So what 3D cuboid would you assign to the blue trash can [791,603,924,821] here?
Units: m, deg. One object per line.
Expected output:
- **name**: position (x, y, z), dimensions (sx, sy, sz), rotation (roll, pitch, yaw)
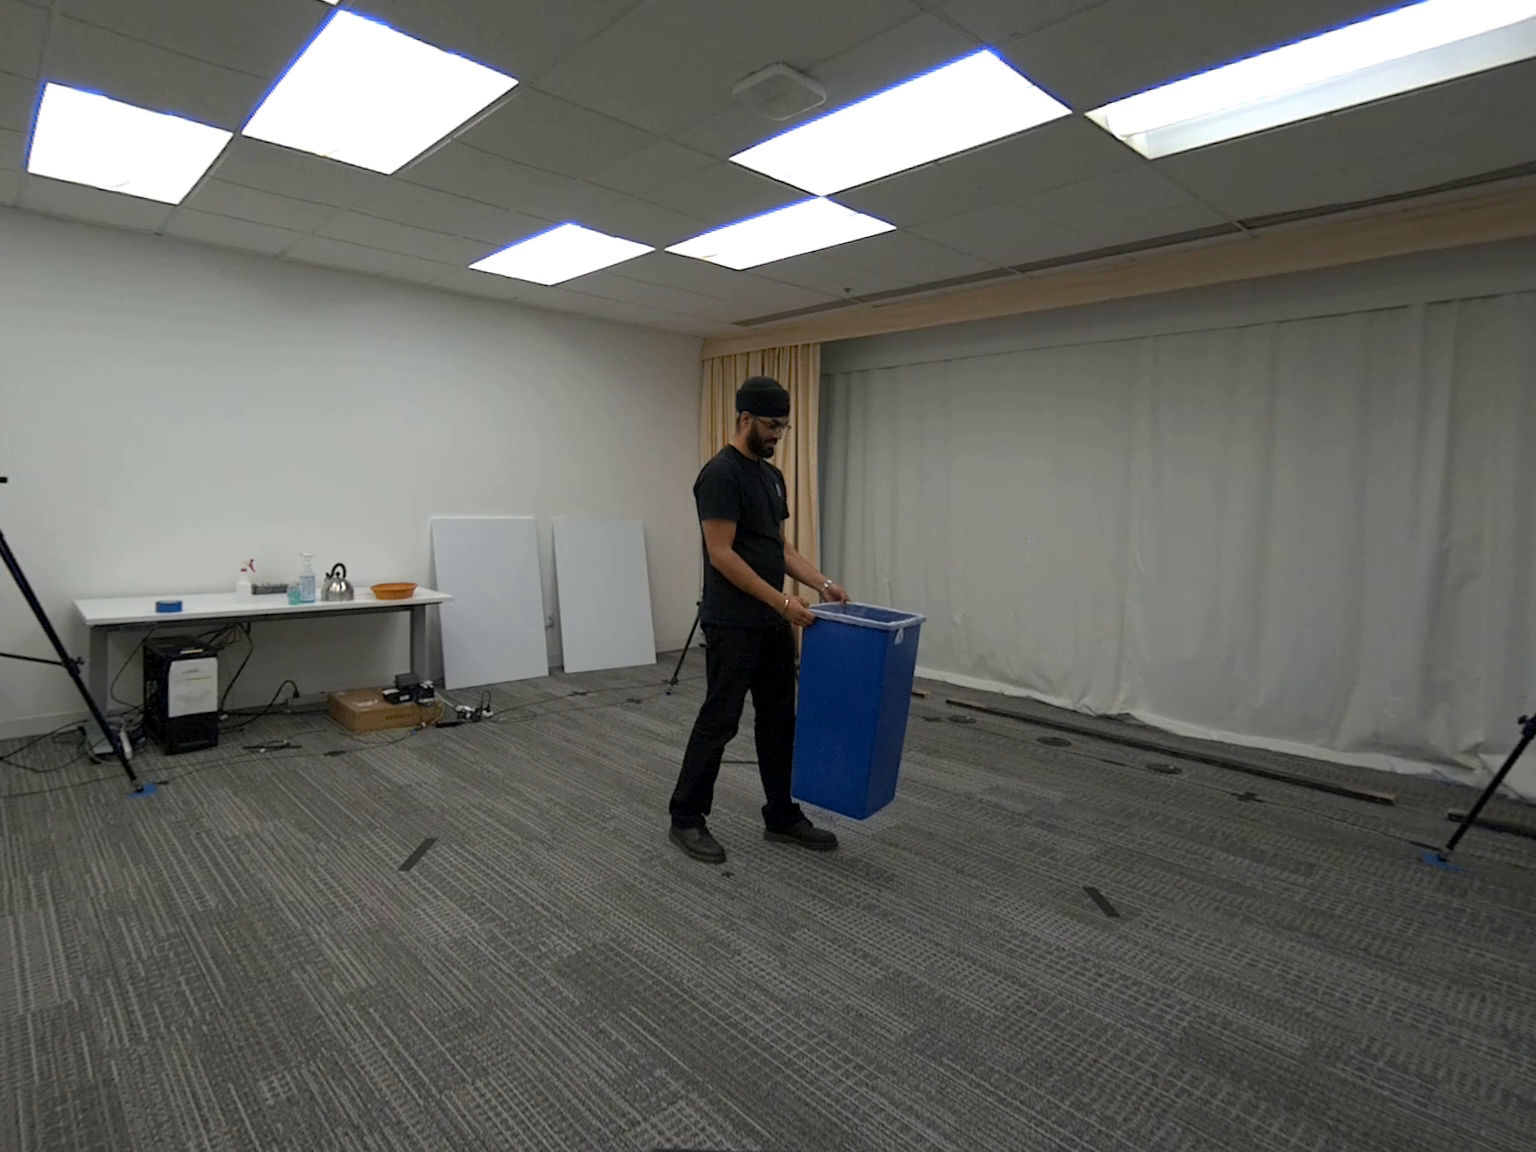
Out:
- **blue trash can**: position (0.307, 0.484, 3.138), dimensions (0.383, 0.711, 0.370), rotation (9, 6, 32)
